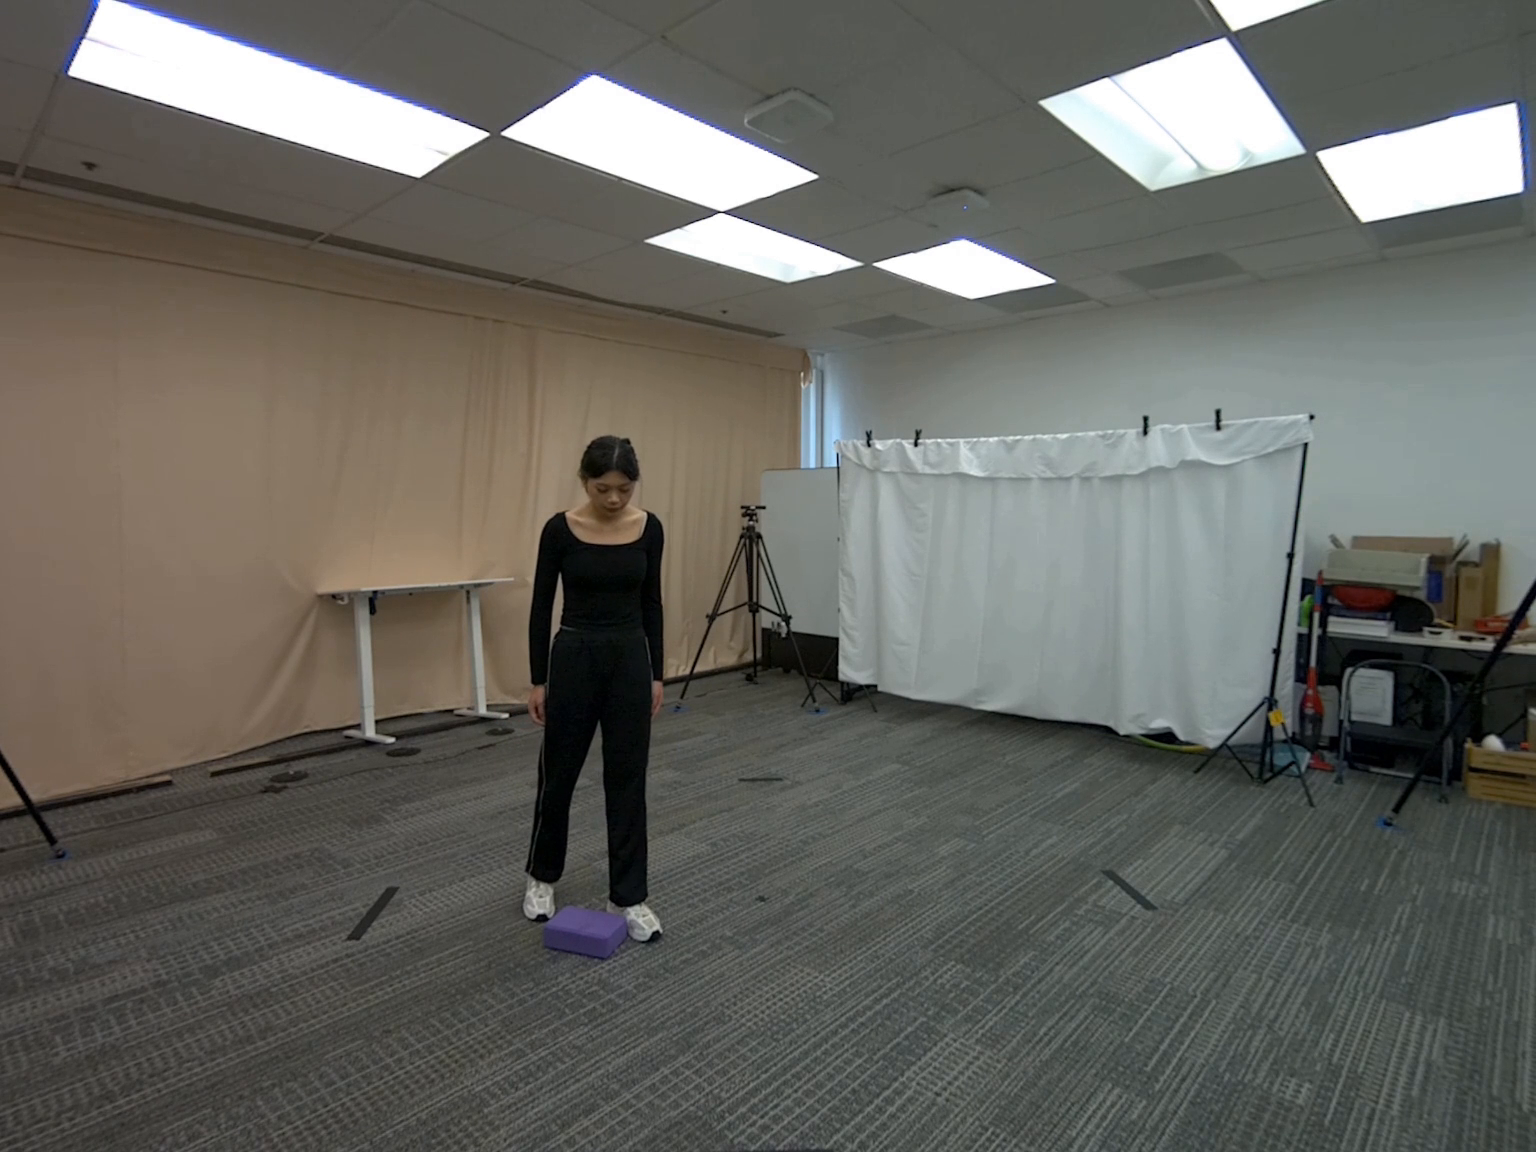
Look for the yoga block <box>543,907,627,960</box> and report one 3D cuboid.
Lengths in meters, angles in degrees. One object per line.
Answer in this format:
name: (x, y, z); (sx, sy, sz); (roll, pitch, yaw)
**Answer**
yoga block: (-0.578, 1.131, 2.686); (0.234, 0.076, 0.146); (1, 3, 19)
